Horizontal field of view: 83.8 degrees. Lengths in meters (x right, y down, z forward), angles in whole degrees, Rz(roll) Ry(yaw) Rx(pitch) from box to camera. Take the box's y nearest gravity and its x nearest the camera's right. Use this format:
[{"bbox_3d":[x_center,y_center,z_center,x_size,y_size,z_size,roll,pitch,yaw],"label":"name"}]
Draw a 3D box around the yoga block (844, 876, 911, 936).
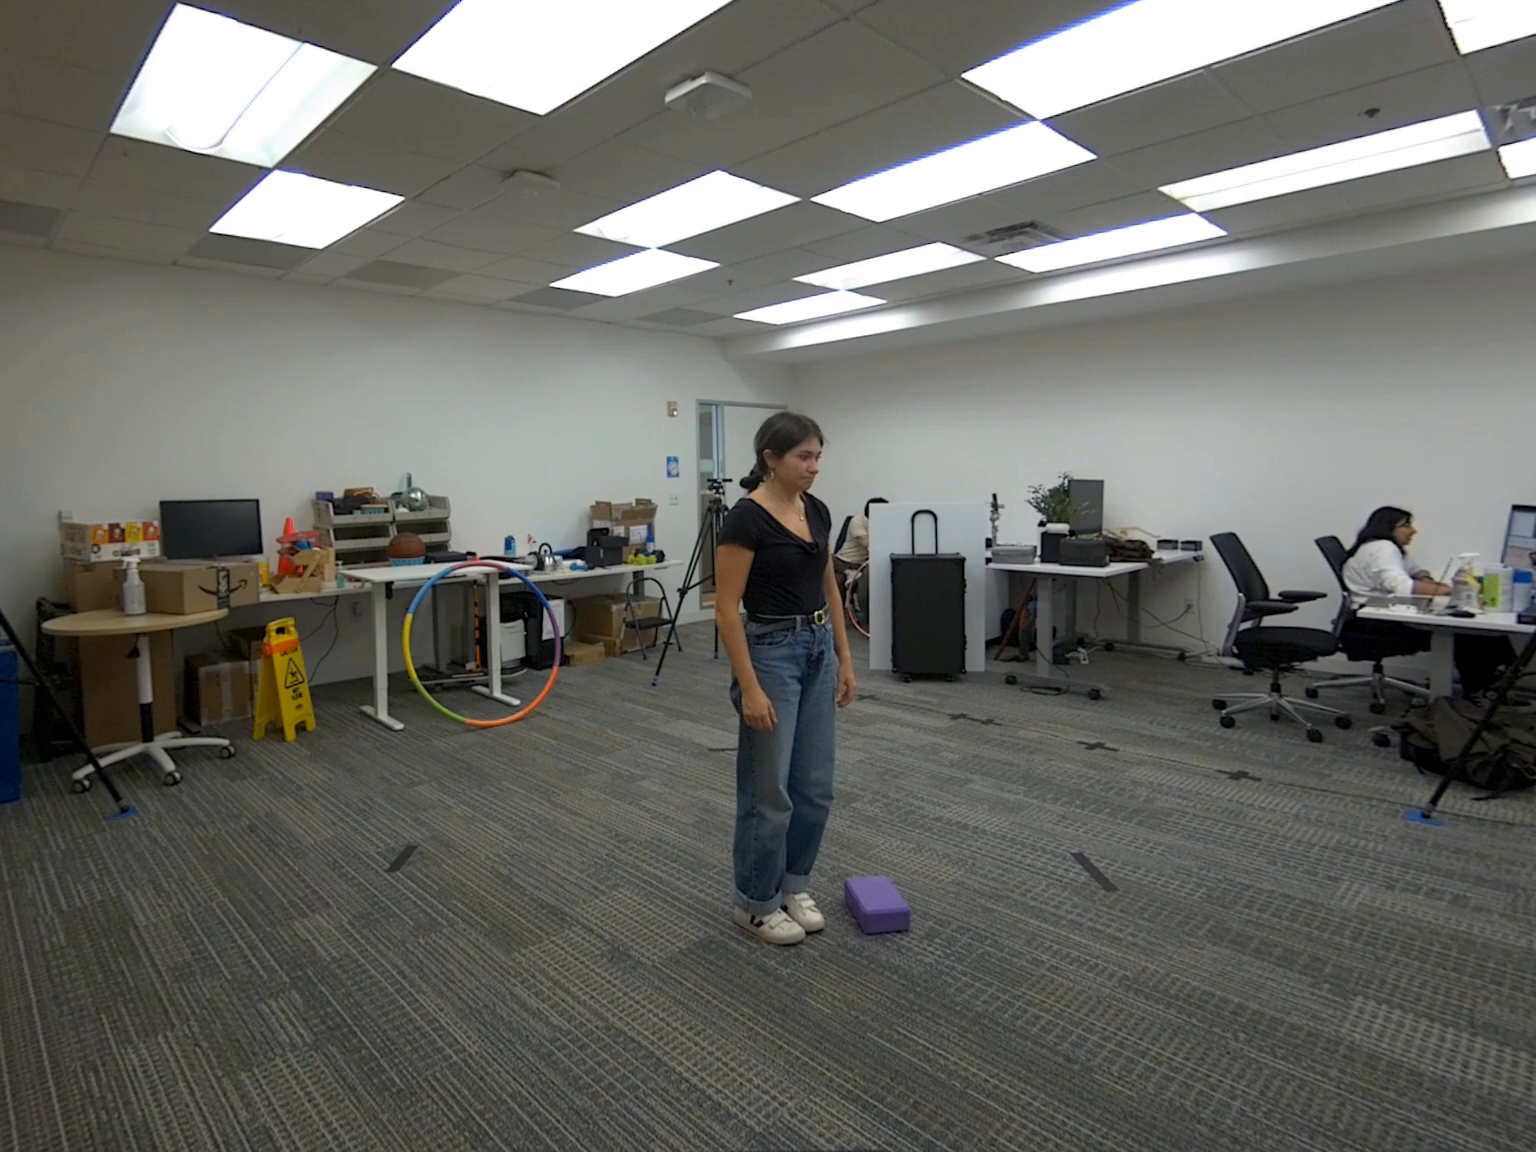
[{"bbox_3d":[0.344,1.034,2.714,0.148,0.076,0.232,-1,4,-10],"label":"yoga block"}]
